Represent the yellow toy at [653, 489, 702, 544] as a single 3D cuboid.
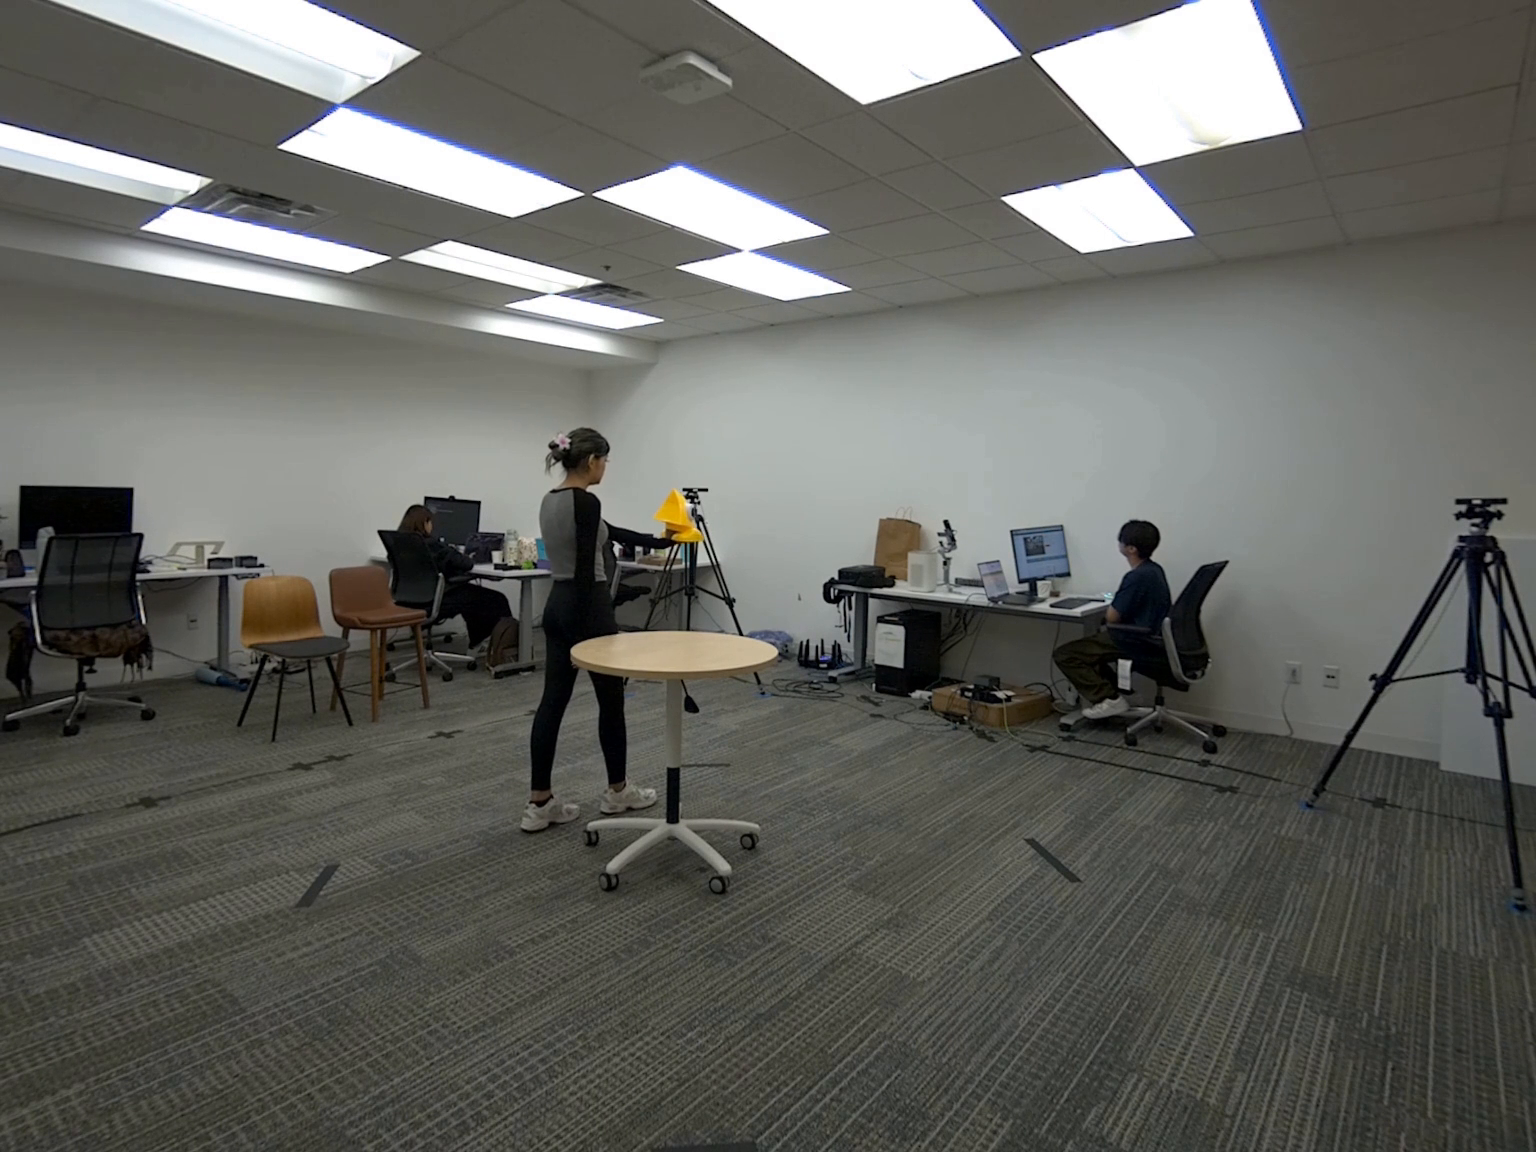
[{"bbox_3d":[-0.412,-0.290,3.917,0.187,0.229,0.212,-2,10,-44],"label":"yellow toy"}]
